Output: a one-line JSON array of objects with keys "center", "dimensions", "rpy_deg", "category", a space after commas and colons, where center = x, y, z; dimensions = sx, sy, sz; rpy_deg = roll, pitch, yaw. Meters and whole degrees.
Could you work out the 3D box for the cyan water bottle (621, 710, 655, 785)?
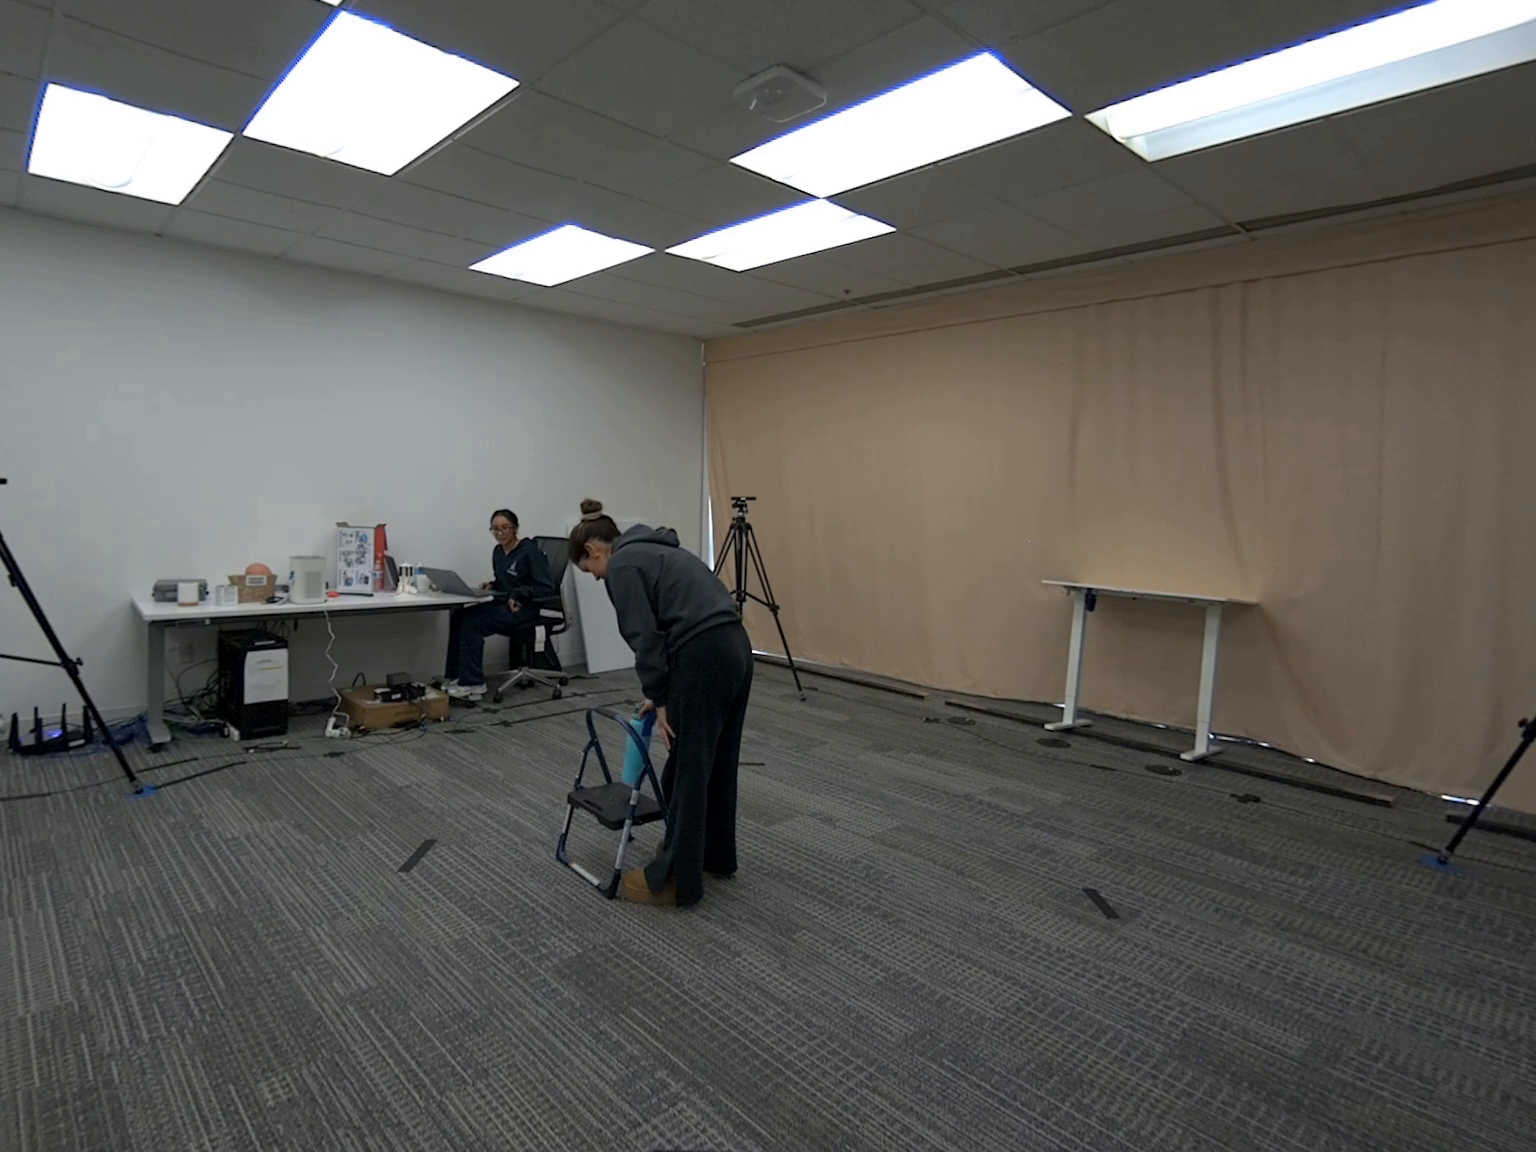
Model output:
[{"center": [-0.493, 0.618, 3.161], "dimensions": [0.092, 0.283, 0.092], "rpy_deg": [6, -1, -1], "category": "cyan water bottle"}]
